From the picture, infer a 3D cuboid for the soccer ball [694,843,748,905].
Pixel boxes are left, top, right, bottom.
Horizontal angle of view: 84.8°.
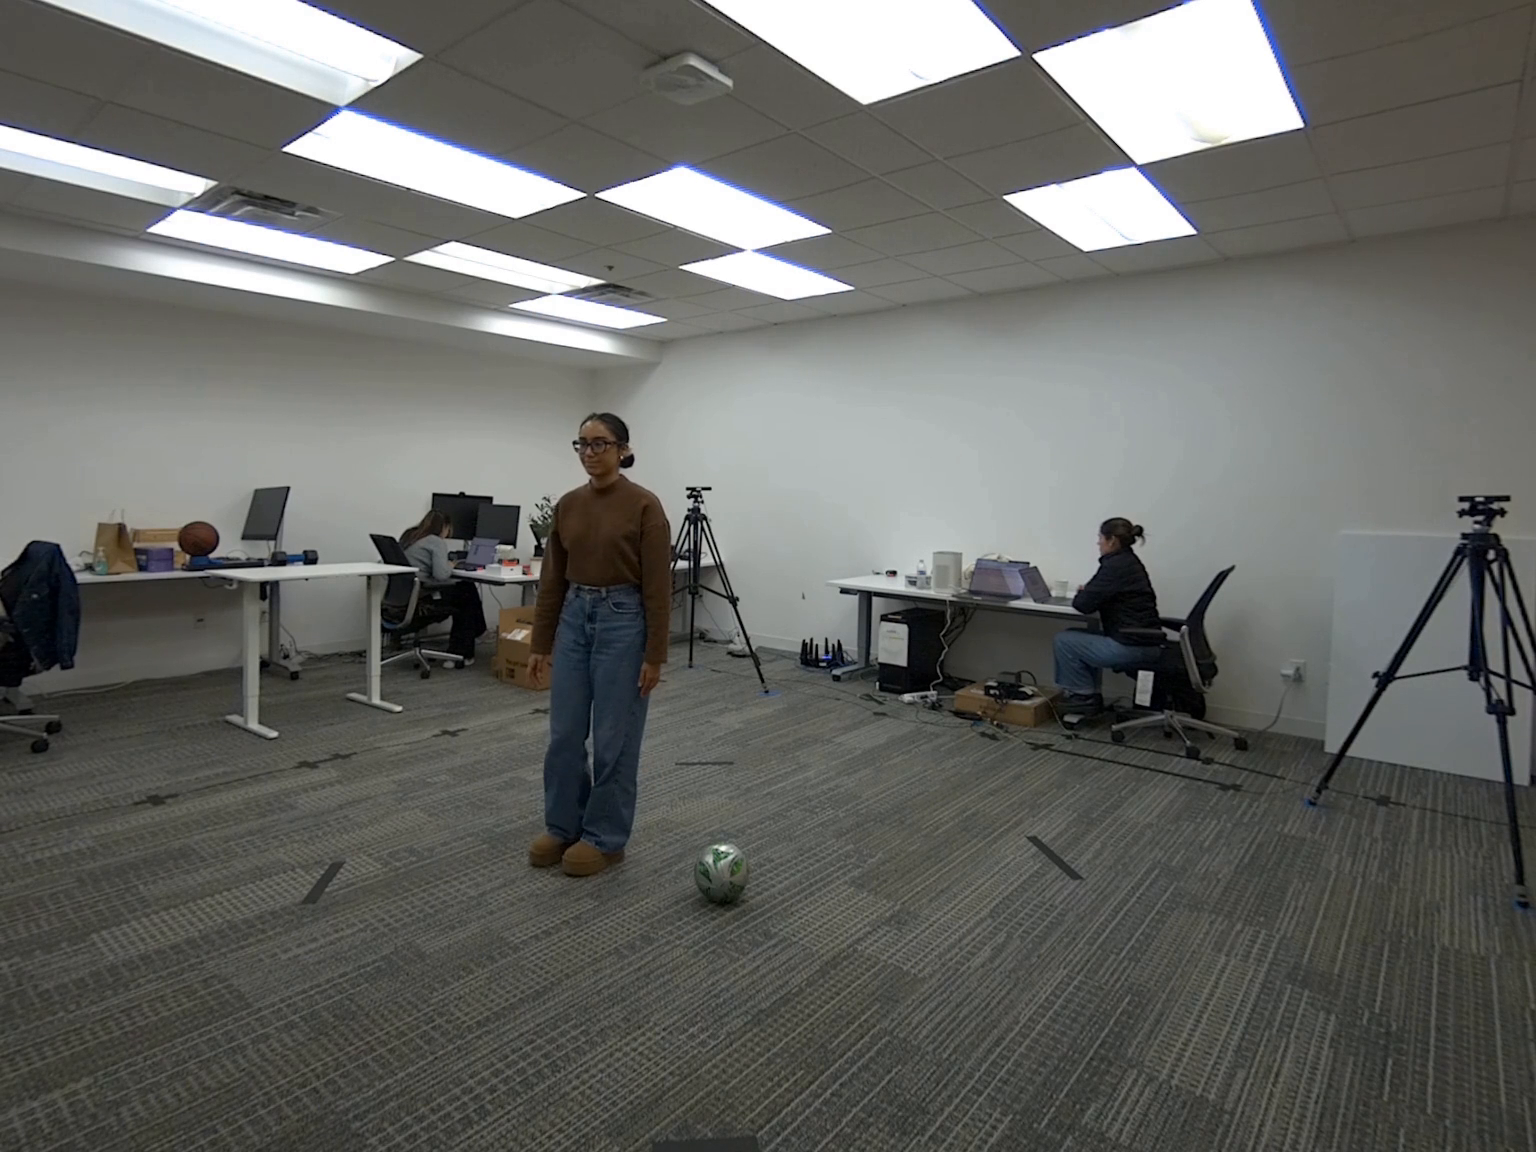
[{"bbox_3d":[-0.163,0.993,2.874,0.187,0.187,0.188,1,4,-2],"label":"soccer ball"}]
